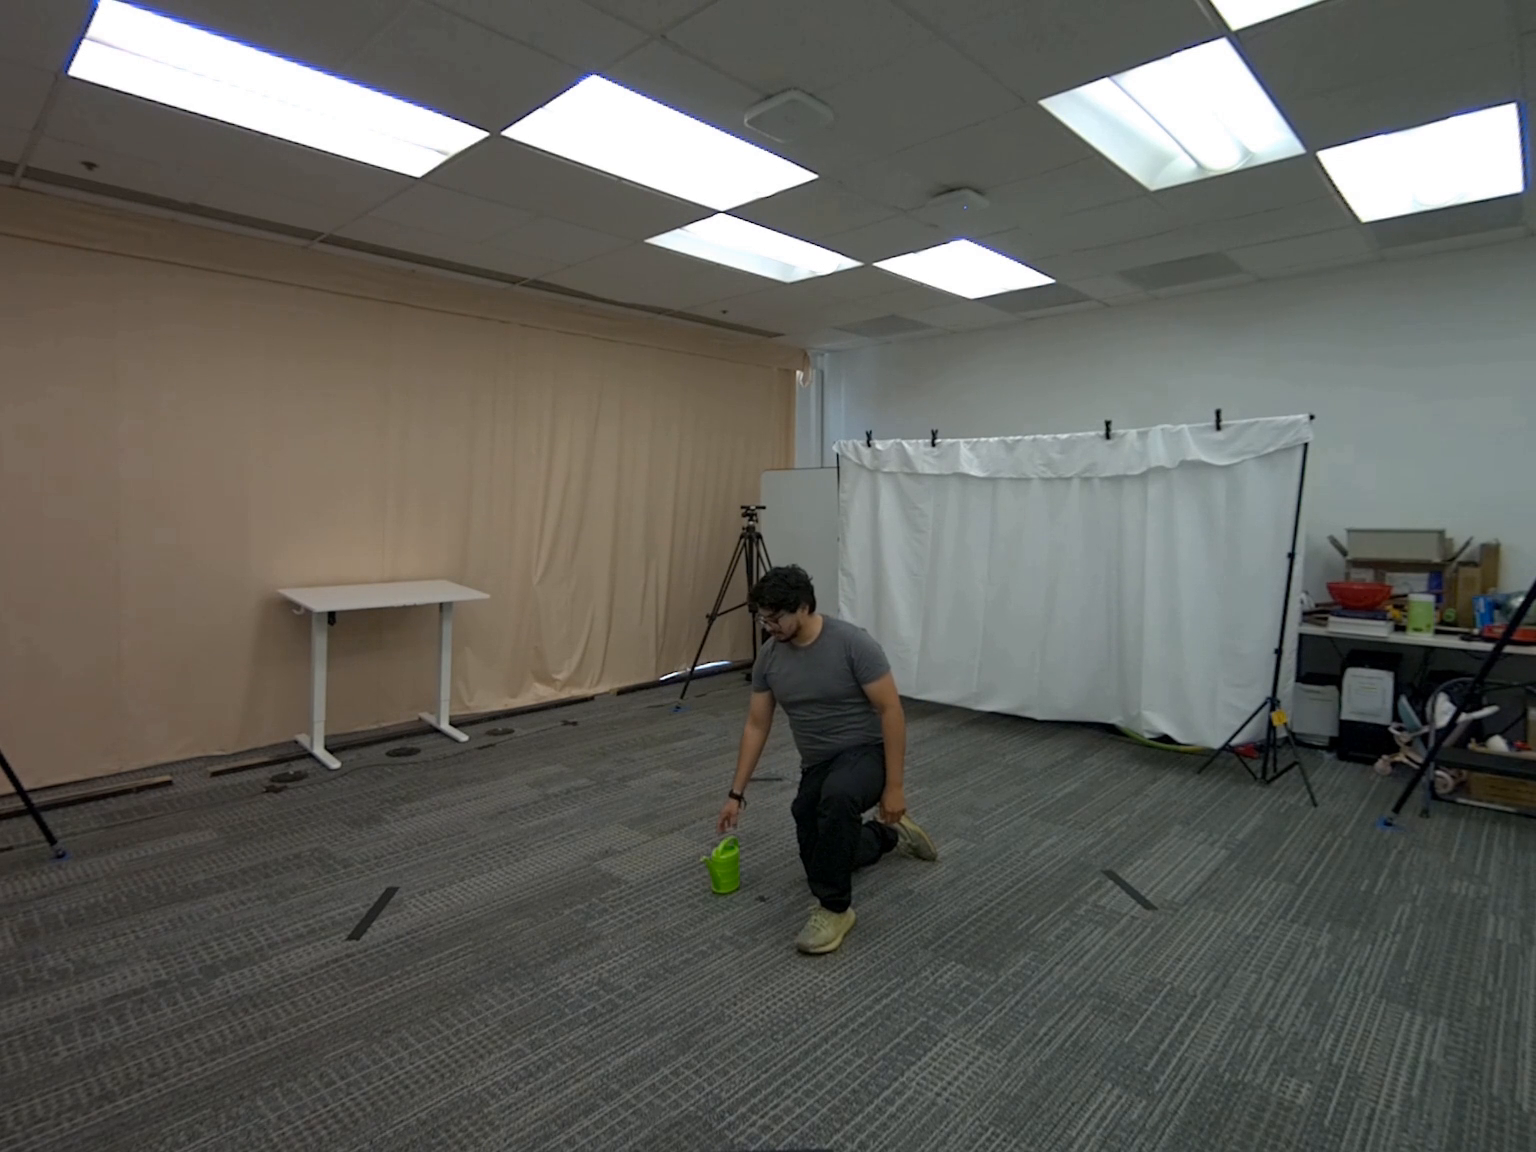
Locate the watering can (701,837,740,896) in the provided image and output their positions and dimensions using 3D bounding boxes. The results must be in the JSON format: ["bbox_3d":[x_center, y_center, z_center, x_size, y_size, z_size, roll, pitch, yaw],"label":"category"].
[{"bbox_3d":[-0.178,1.056,3.039,0.101,0.176,0.270,2,5,39],"label":"watering can"}]
